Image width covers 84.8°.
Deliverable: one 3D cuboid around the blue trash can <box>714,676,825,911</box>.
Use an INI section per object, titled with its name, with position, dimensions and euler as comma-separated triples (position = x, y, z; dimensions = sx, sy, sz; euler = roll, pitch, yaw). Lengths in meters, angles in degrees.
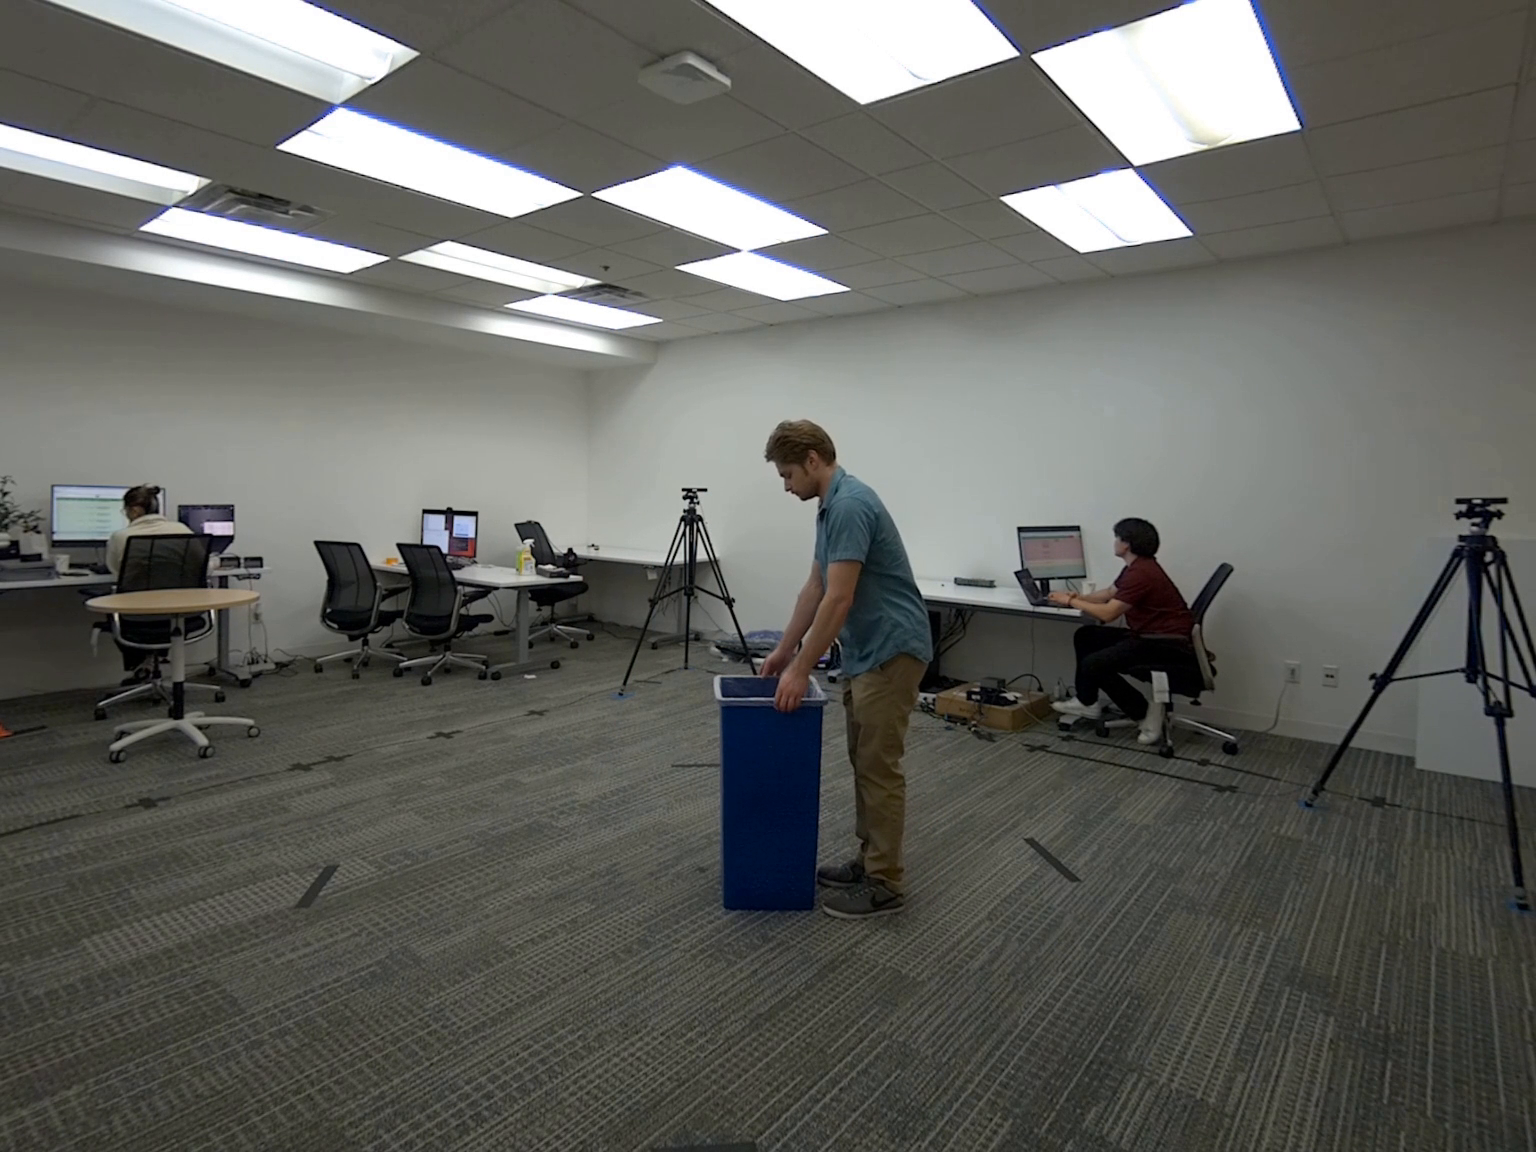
[blue trash can]
position = -0.011, 0.738, 2.955
dimensions = 0.376, 0.711, 0.377
euler = 1, 4, -5
